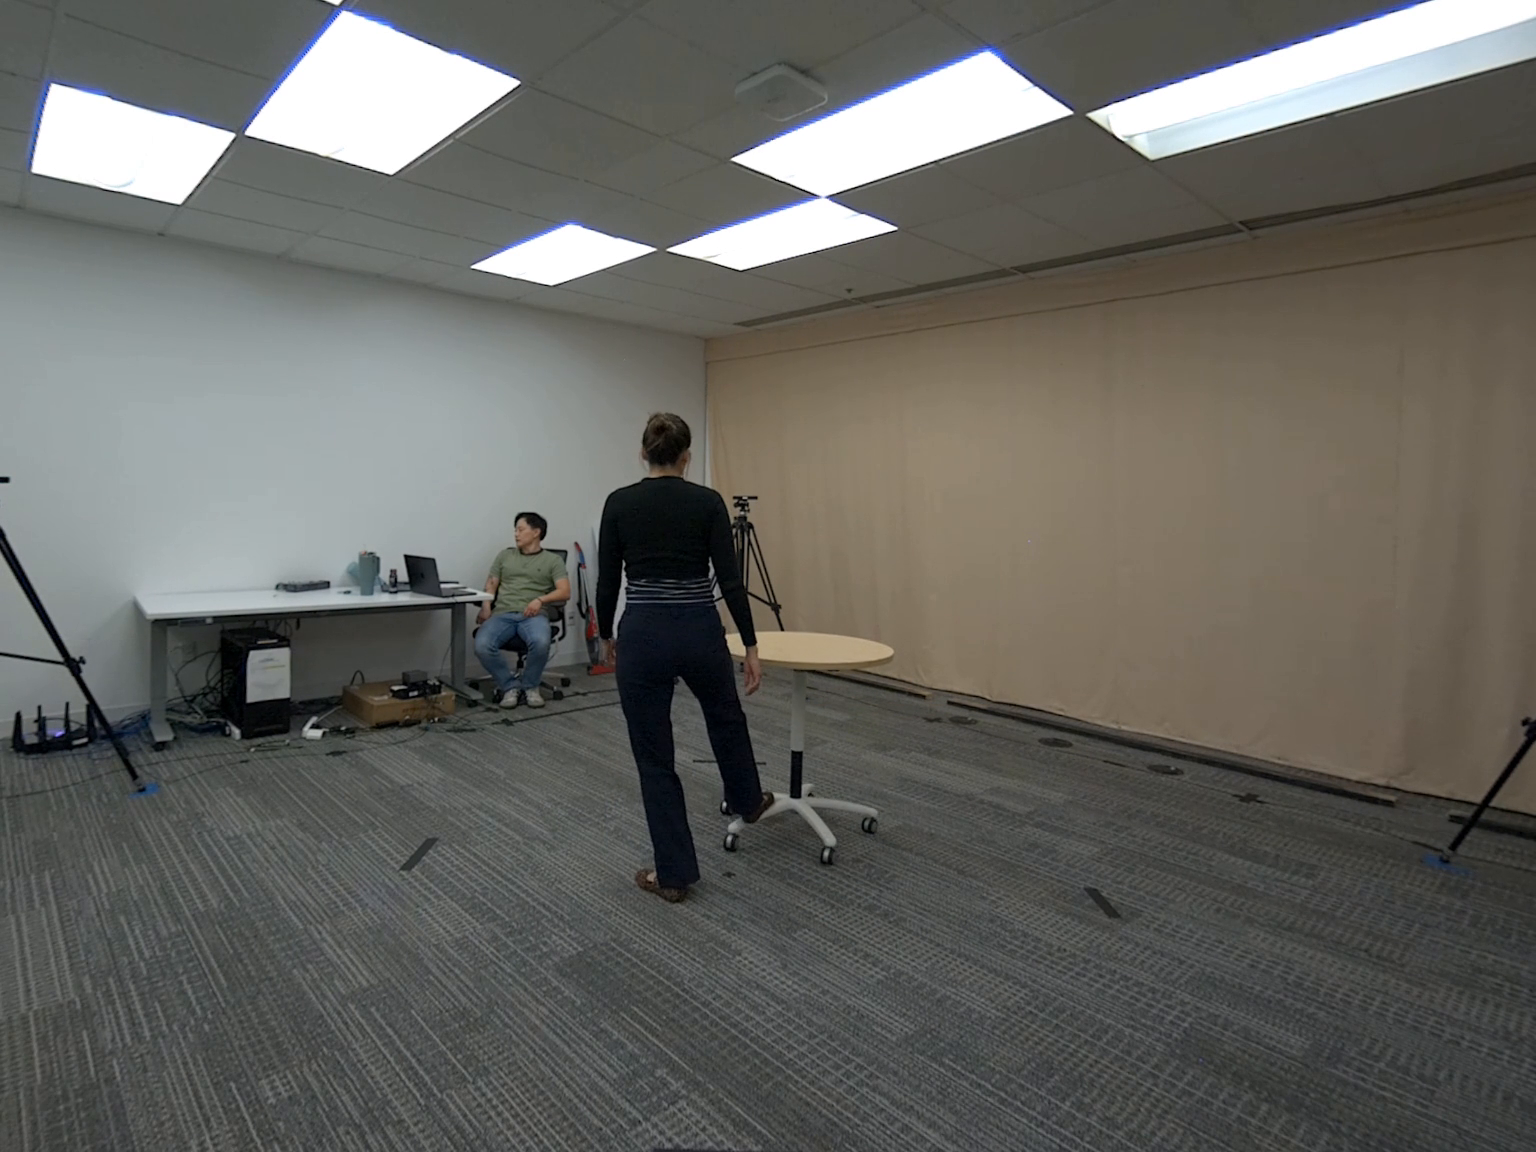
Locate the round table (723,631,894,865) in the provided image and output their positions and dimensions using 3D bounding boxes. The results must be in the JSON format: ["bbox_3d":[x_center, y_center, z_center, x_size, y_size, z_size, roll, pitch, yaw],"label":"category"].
[{"bbox_3d":[0.109,0.683,3.527,0.763,0.792,0.766,2,3,-1],"label":"round table"}]
